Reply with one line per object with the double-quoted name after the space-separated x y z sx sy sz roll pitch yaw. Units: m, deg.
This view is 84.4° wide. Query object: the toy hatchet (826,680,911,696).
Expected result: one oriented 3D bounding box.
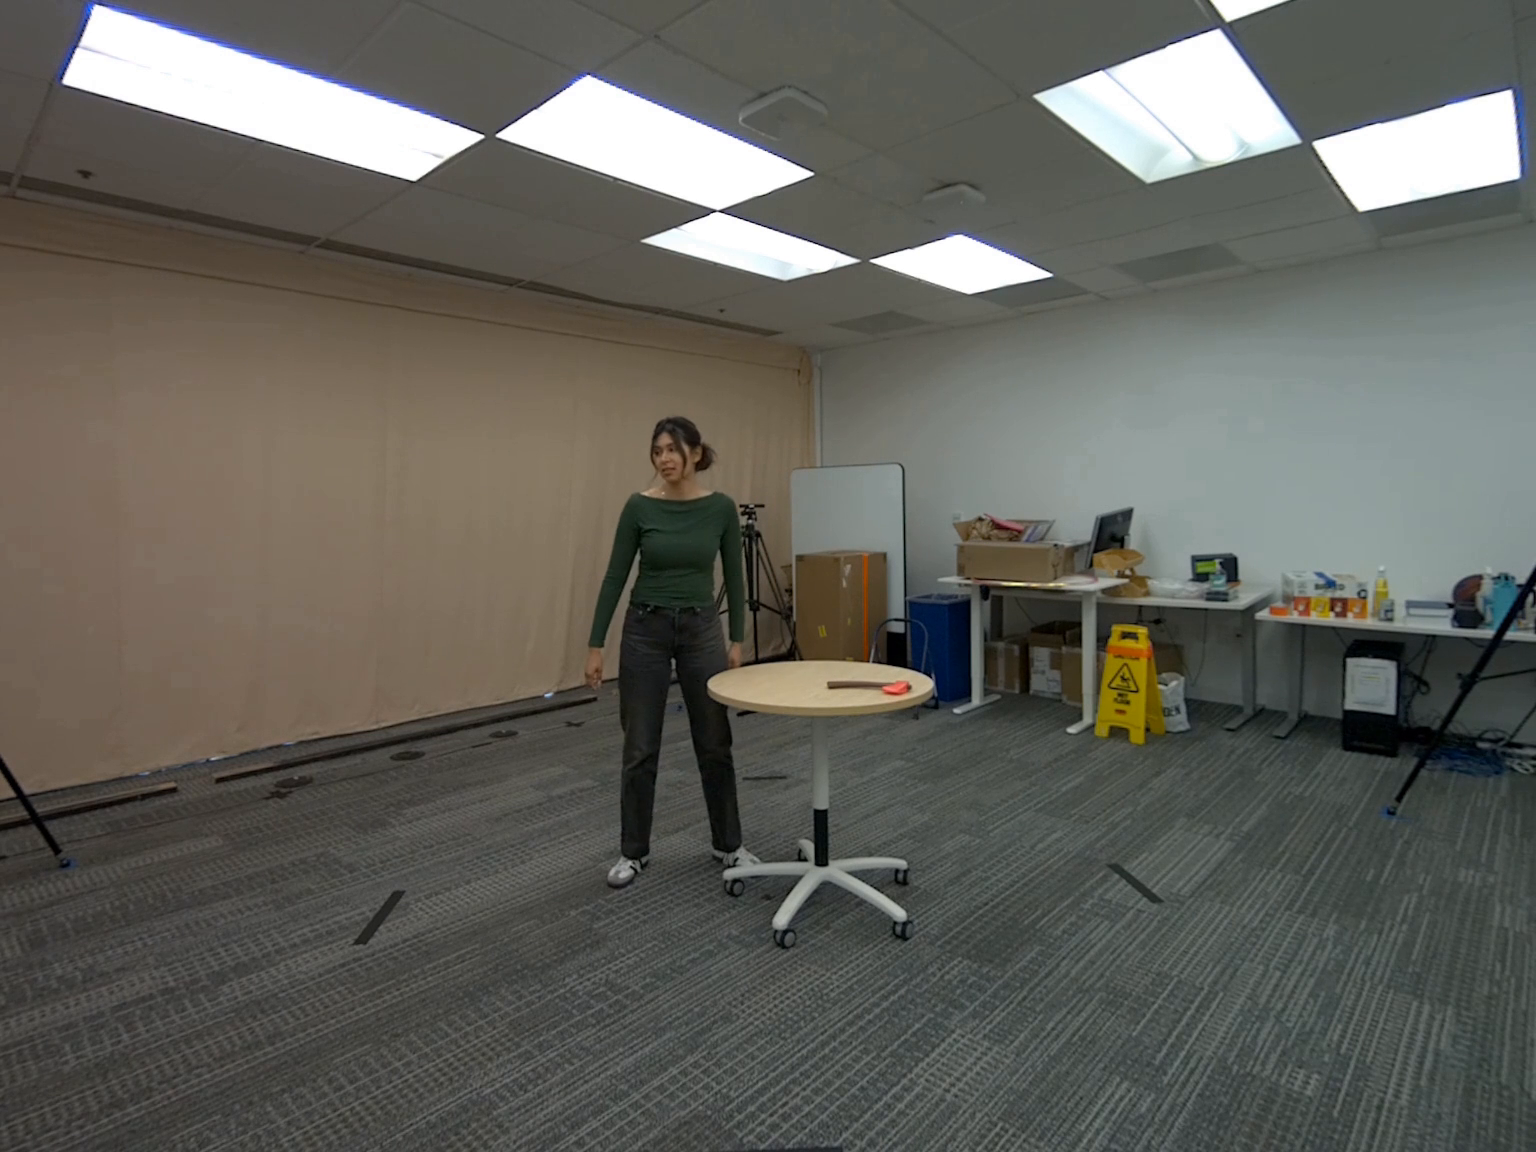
0.330 0.363 2.702 0.272 0.029 0.131 -3 7 5 "toy hatchet"
